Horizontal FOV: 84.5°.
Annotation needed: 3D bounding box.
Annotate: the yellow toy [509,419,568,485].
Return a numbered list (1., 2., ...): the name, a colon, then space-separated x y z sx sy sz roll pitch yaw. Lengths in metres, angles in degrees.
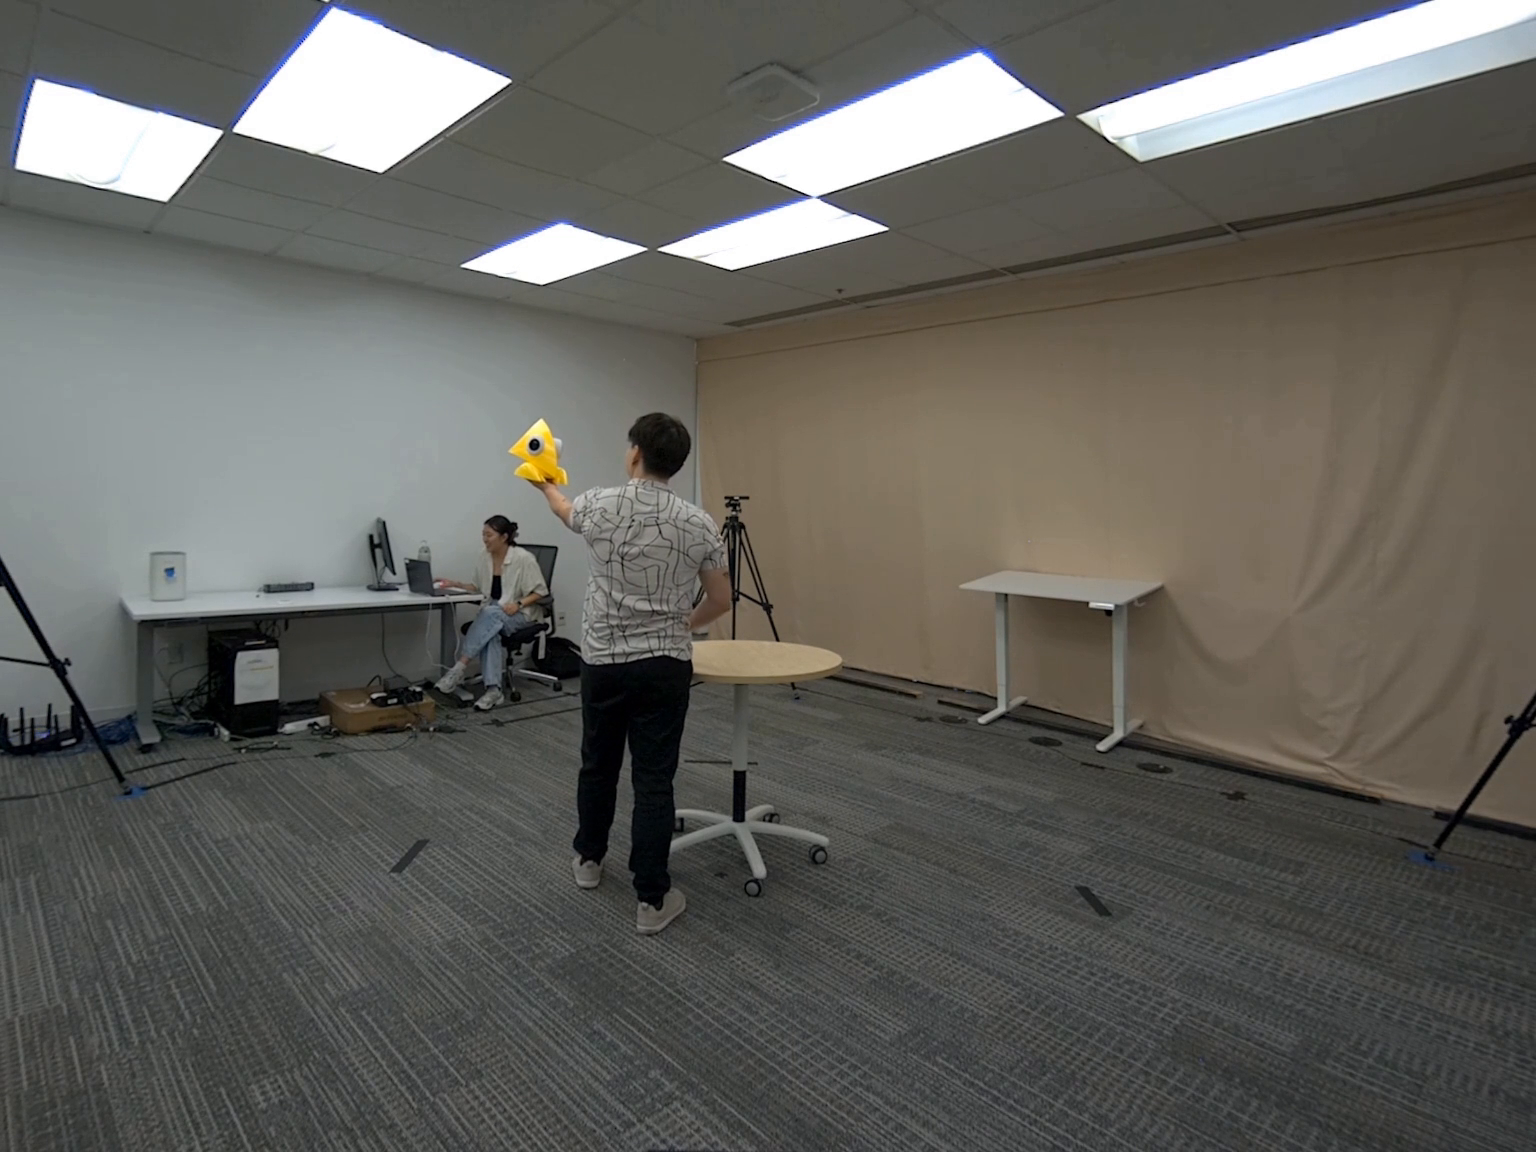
1. yellow toy: -0.878 -0.490 3.275 0.198 0.230 0.200 18 9 37
